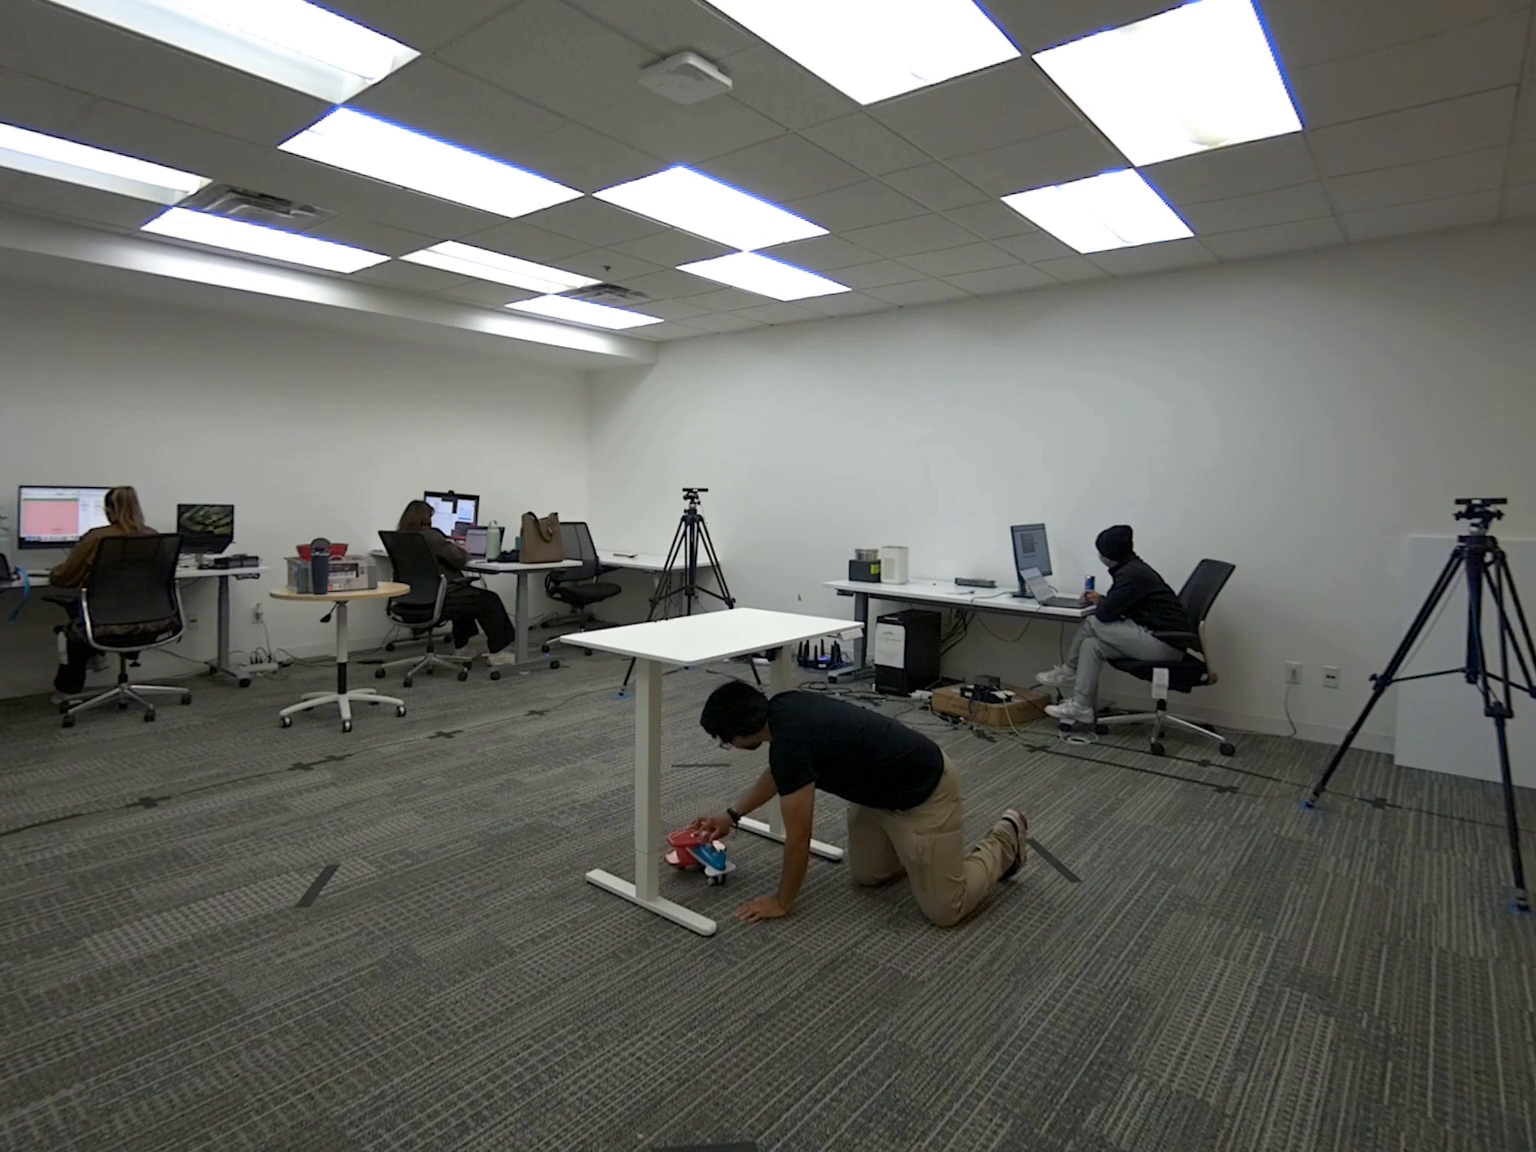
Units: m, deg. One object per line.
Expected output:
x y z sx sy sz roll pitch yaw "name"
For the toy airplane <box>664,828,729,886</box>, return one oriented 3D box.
-0.231 1.001 3.082 0.266 0.156 0.245 1 3 26 "toy airplane"
